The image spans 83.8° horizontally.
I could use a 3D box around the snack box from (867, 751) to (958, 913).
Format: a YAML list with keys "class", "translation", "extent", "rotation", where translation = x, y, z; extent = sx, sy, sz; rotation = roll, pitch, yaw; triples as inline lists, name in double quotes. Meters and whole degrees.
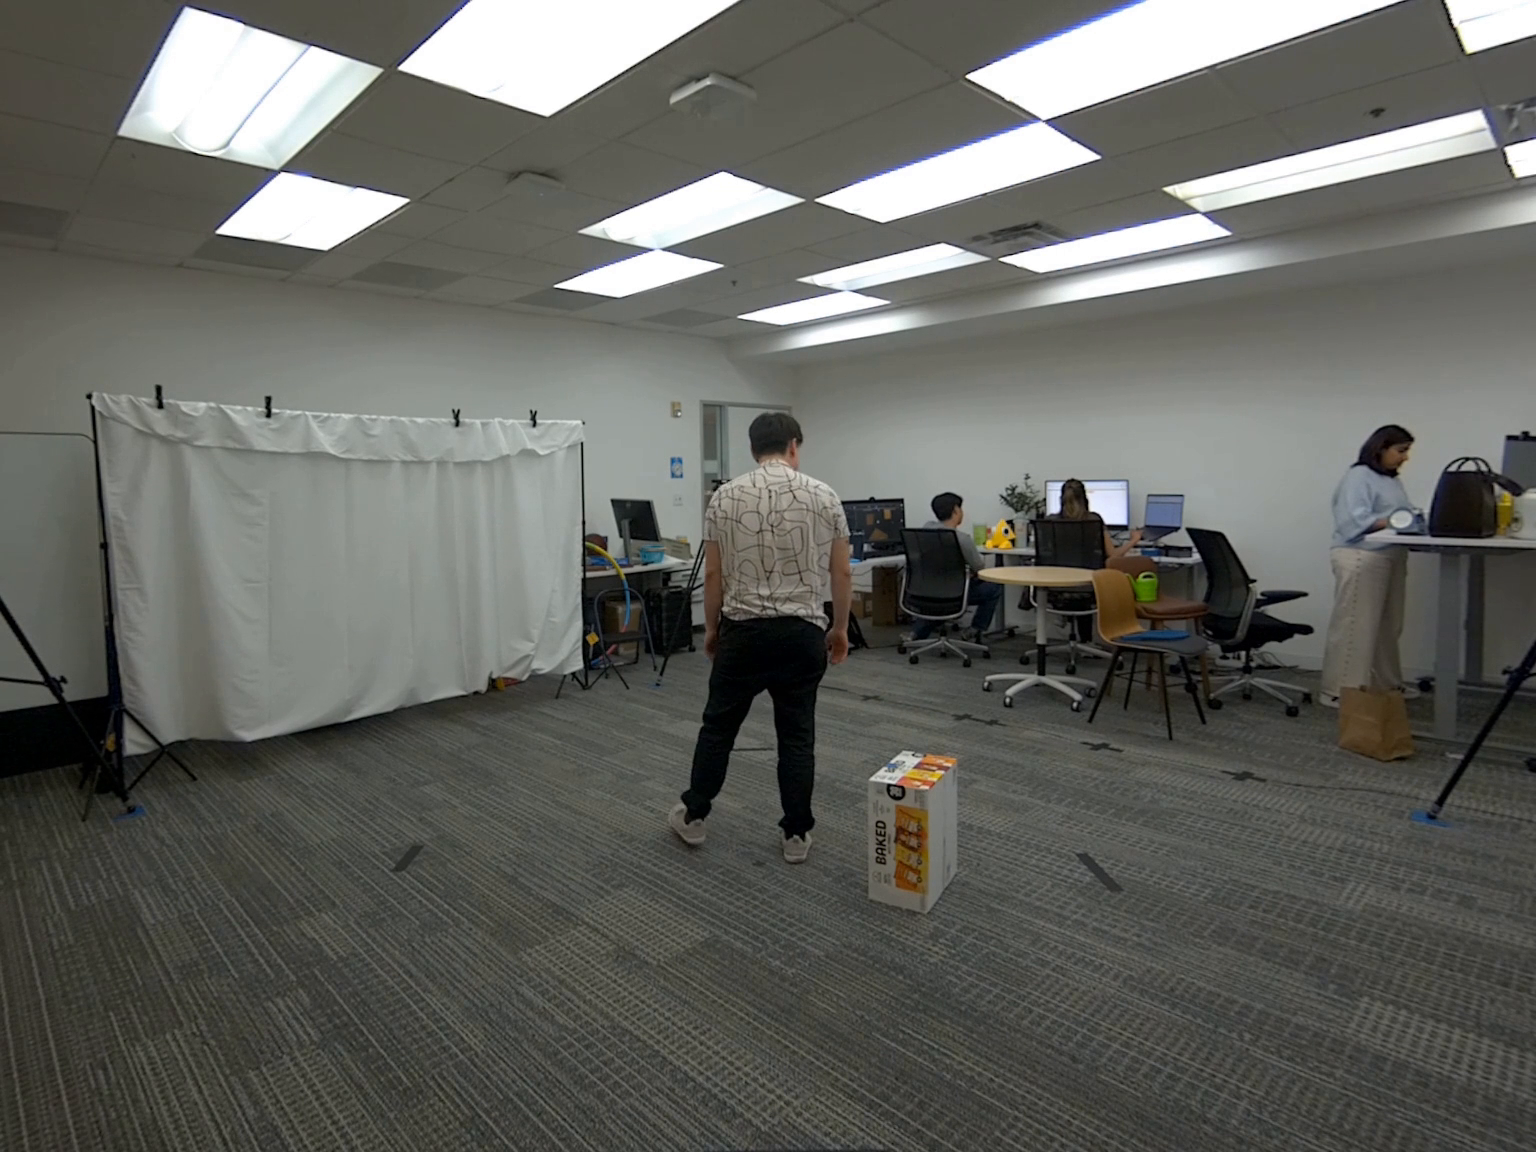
- class: "snack box"
  translation: [0.503, 0.855, 2.909]
  extent: [0.211, 0.404, 0.333]
  rotation: [0, 5, 29]
